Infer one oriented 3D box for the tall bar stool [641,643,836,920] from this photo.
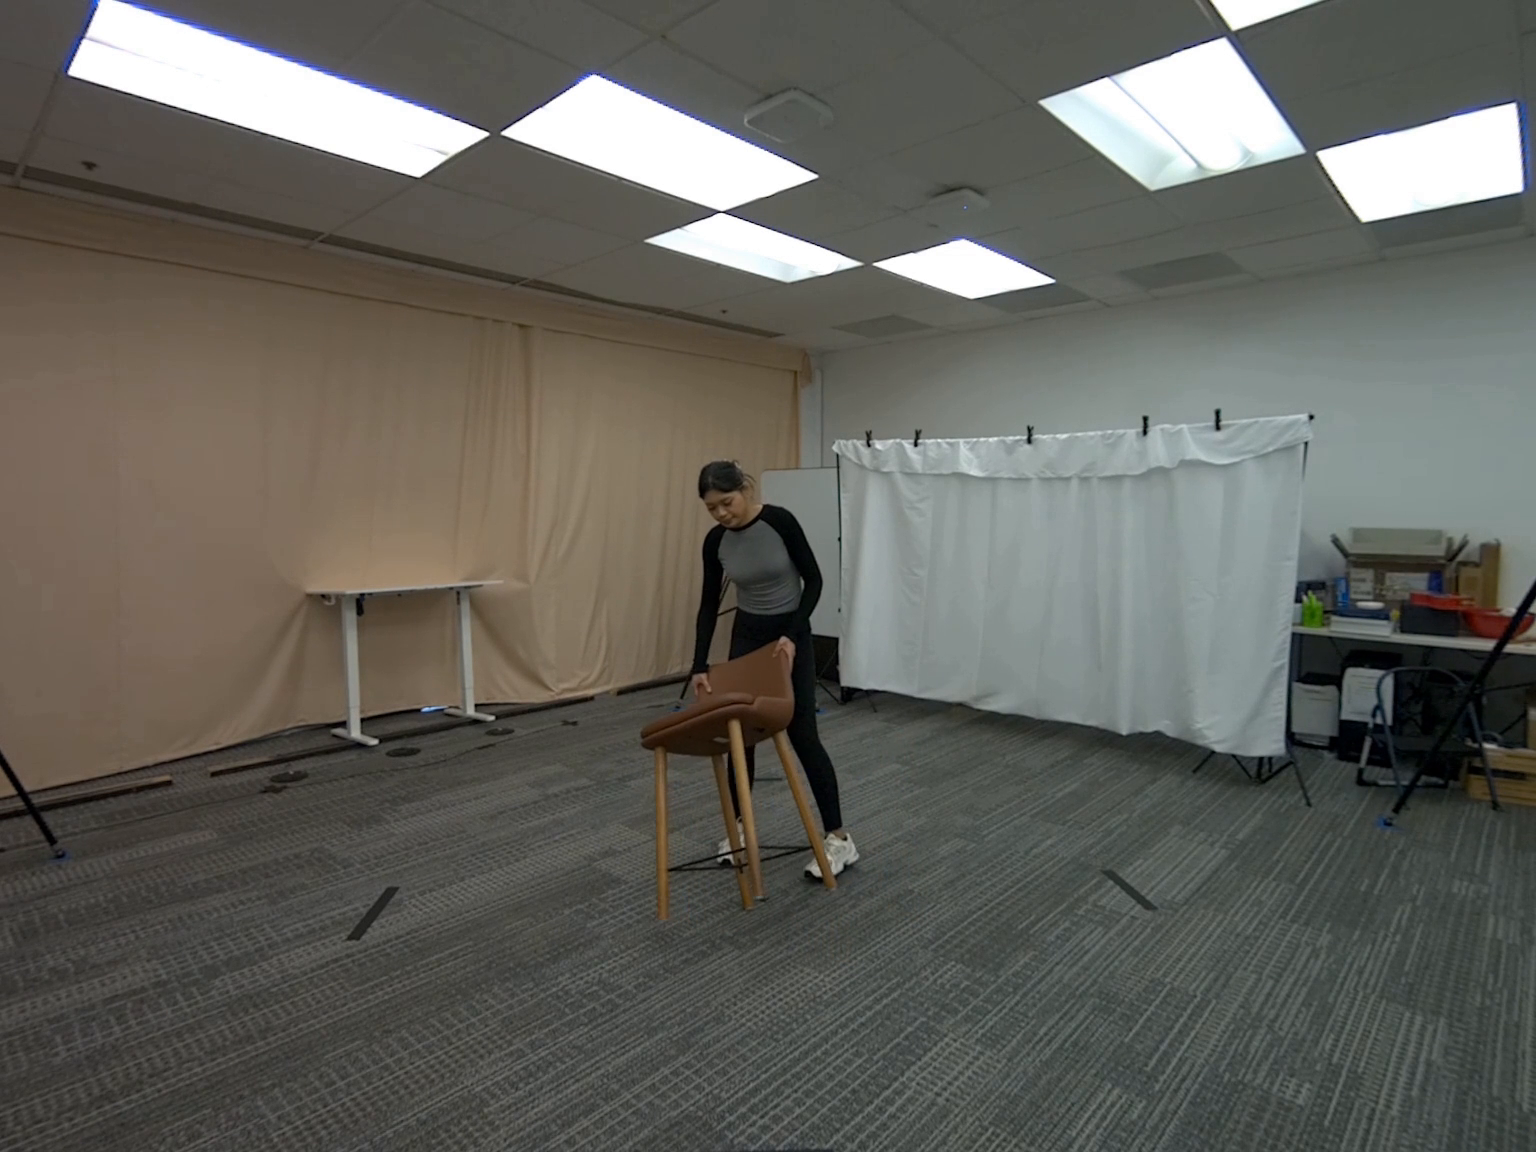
[{"bbox_3d":[-0.127,0.643,2.846,0.464,0.907,0.450,-27,-31,31],"label":"tall bar stool"}]
